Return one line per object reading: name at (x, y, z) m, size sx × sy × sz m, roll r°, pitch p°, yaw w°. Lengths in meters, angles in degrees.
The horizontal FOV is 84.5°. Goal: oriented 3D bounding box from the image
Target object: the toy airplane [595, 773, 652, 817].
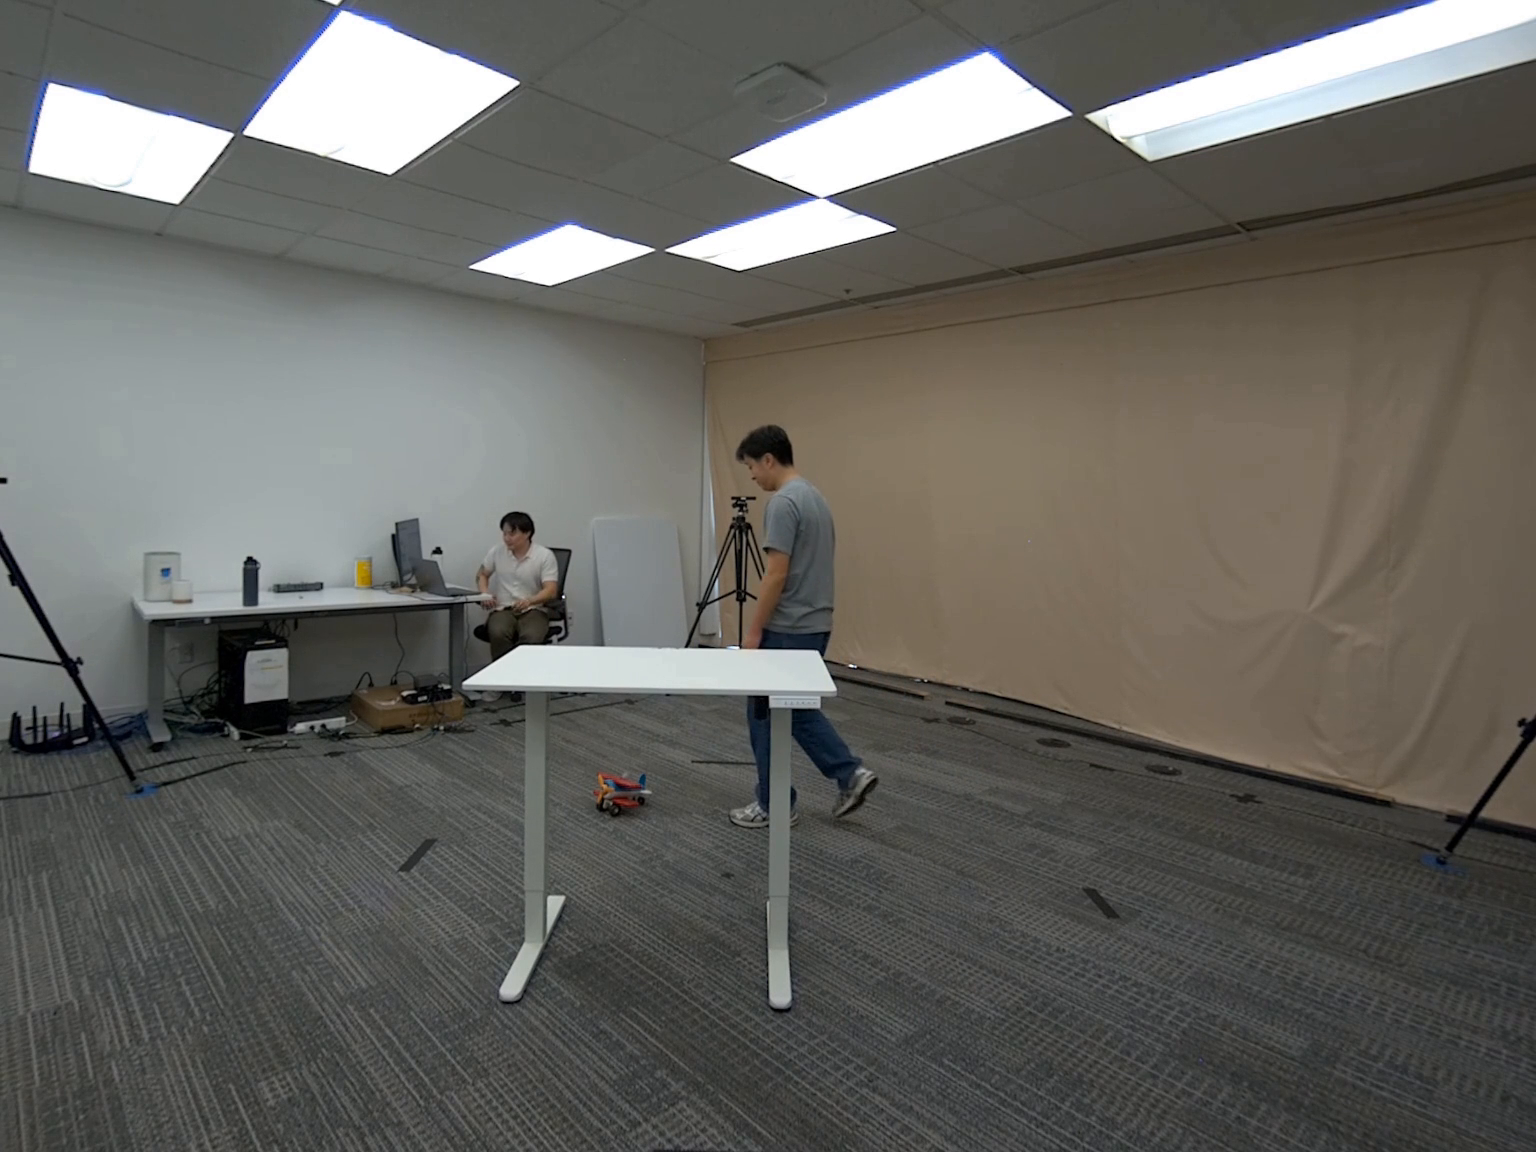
toy airplane at (-0.670, 0.959, 3.759) m, size 0.253 × 0.156 × 0.258 m, roll 2°, pitch 7°, yaw 10°
